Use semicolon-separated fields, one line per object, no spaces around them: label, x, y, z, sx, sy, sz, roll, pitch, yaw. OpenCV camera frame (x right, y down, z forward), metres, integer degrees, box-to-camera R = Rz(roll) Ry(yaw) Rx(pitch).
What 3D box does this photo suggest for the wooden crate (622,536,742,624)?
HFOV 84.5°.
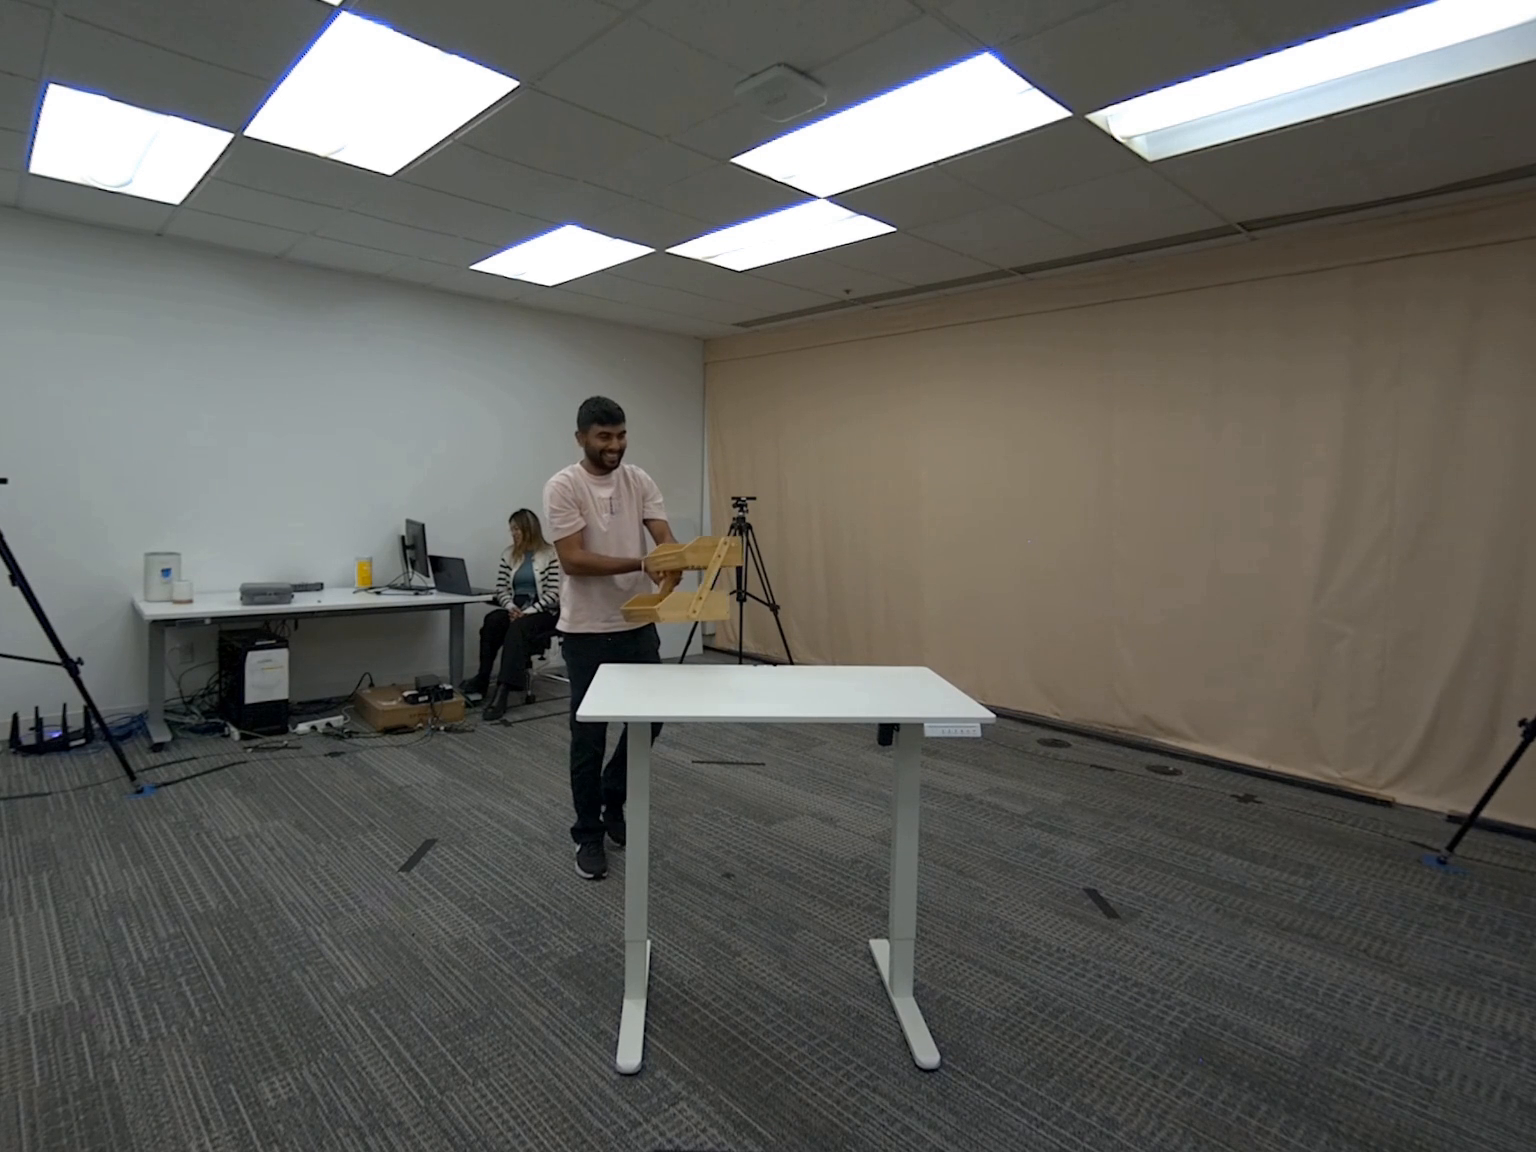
wooden crate;-0.290;0.013;2.708;0.296;0.274;0.330;0;-3;-30
